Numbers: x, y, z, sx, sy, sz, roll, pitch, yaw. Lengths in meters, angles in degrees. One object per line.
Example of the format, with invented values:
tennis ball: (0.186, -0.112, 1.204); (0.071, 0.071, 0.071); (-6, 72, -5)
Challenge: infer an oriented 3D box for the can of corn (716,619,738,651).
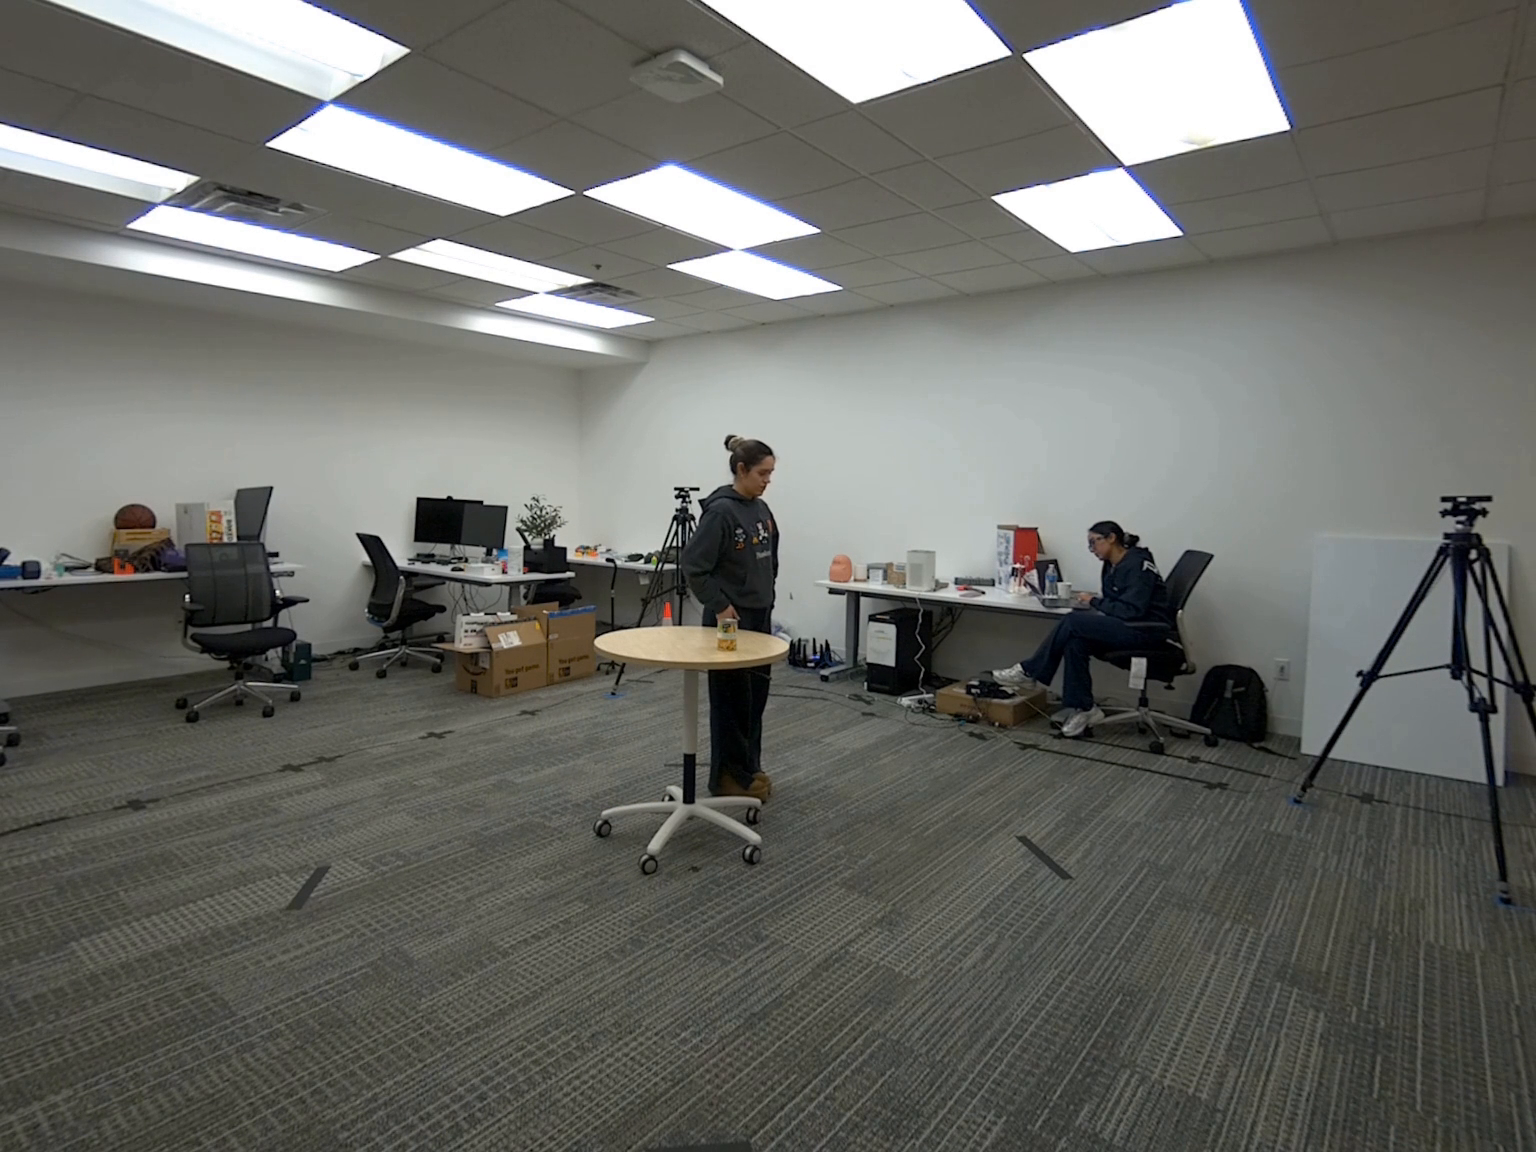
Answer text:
can of corn: (-0.169, 0.216, 3.214); (0.074, 0.111, 0.074); (1, 4, -2)
